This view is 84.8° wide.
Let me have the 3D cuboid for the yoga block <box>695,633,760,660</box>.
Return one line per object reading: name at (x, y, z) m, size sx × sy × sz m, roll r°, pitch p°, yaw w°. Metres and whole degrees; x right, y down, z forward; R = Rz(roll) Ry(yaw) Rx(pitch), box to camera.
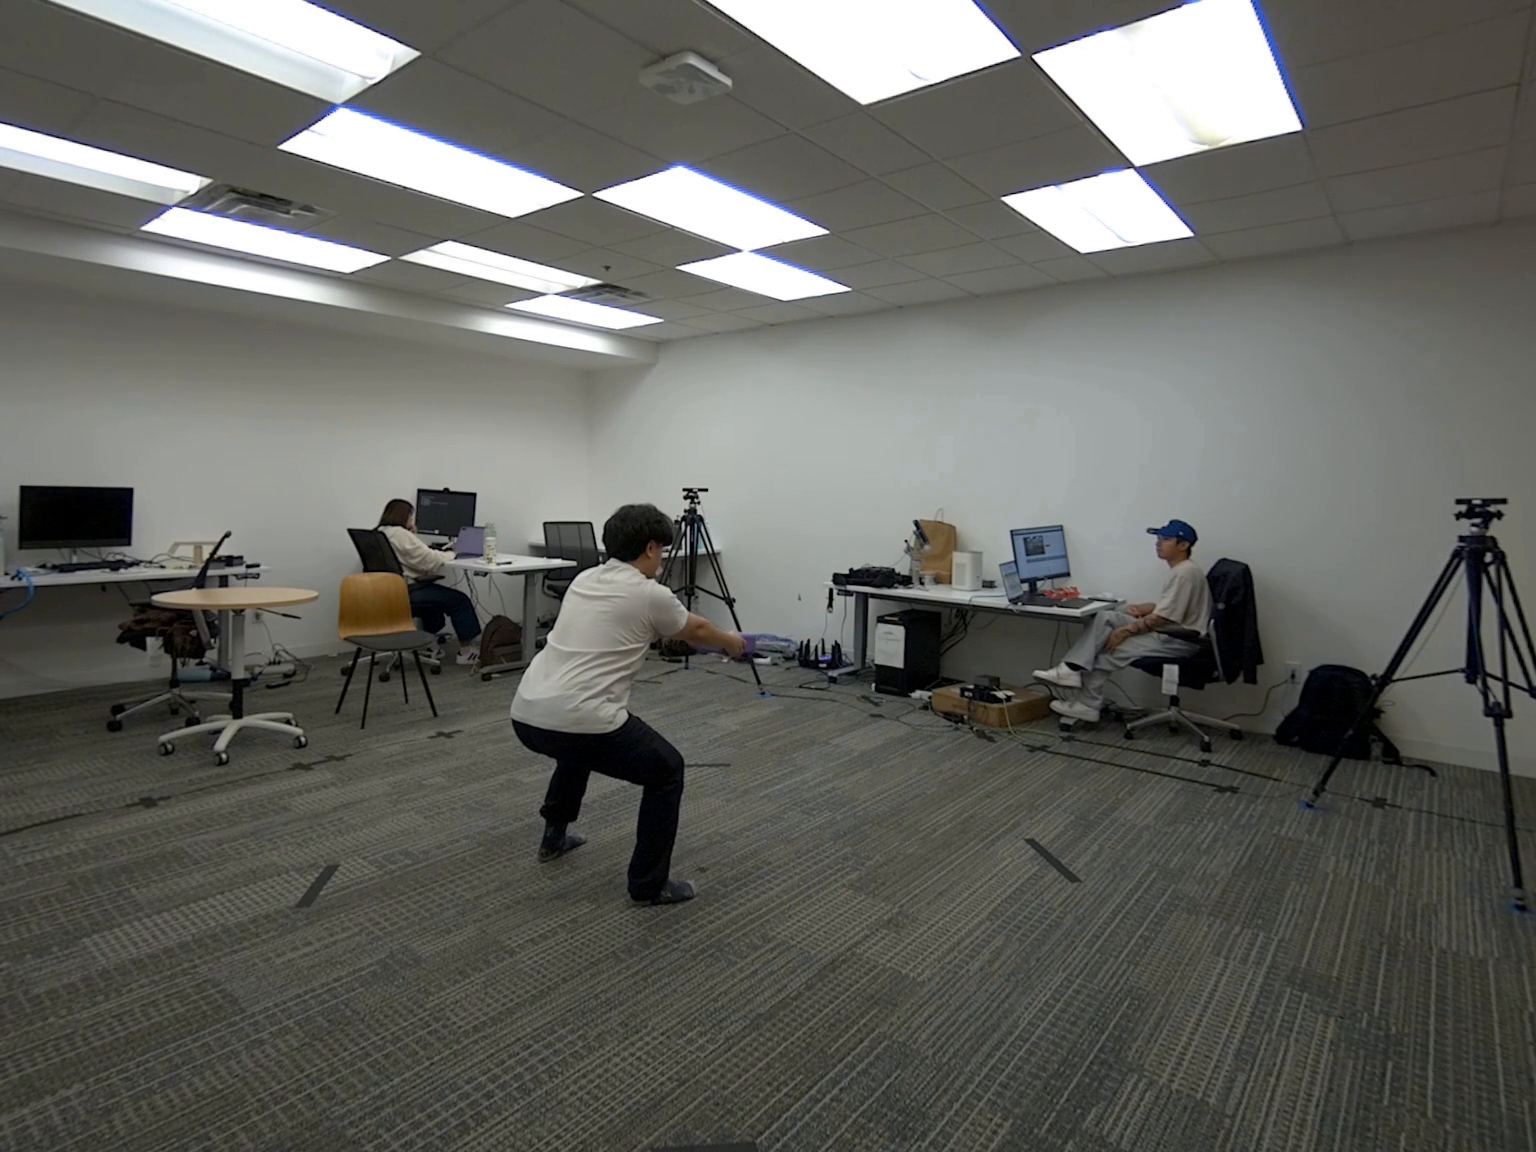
yoga block at (-0.172, 0.264, 3.492) m, size 0.154 × 0.076 × 0.222 m, roll 5°, pitch 1°, yaw 32°
